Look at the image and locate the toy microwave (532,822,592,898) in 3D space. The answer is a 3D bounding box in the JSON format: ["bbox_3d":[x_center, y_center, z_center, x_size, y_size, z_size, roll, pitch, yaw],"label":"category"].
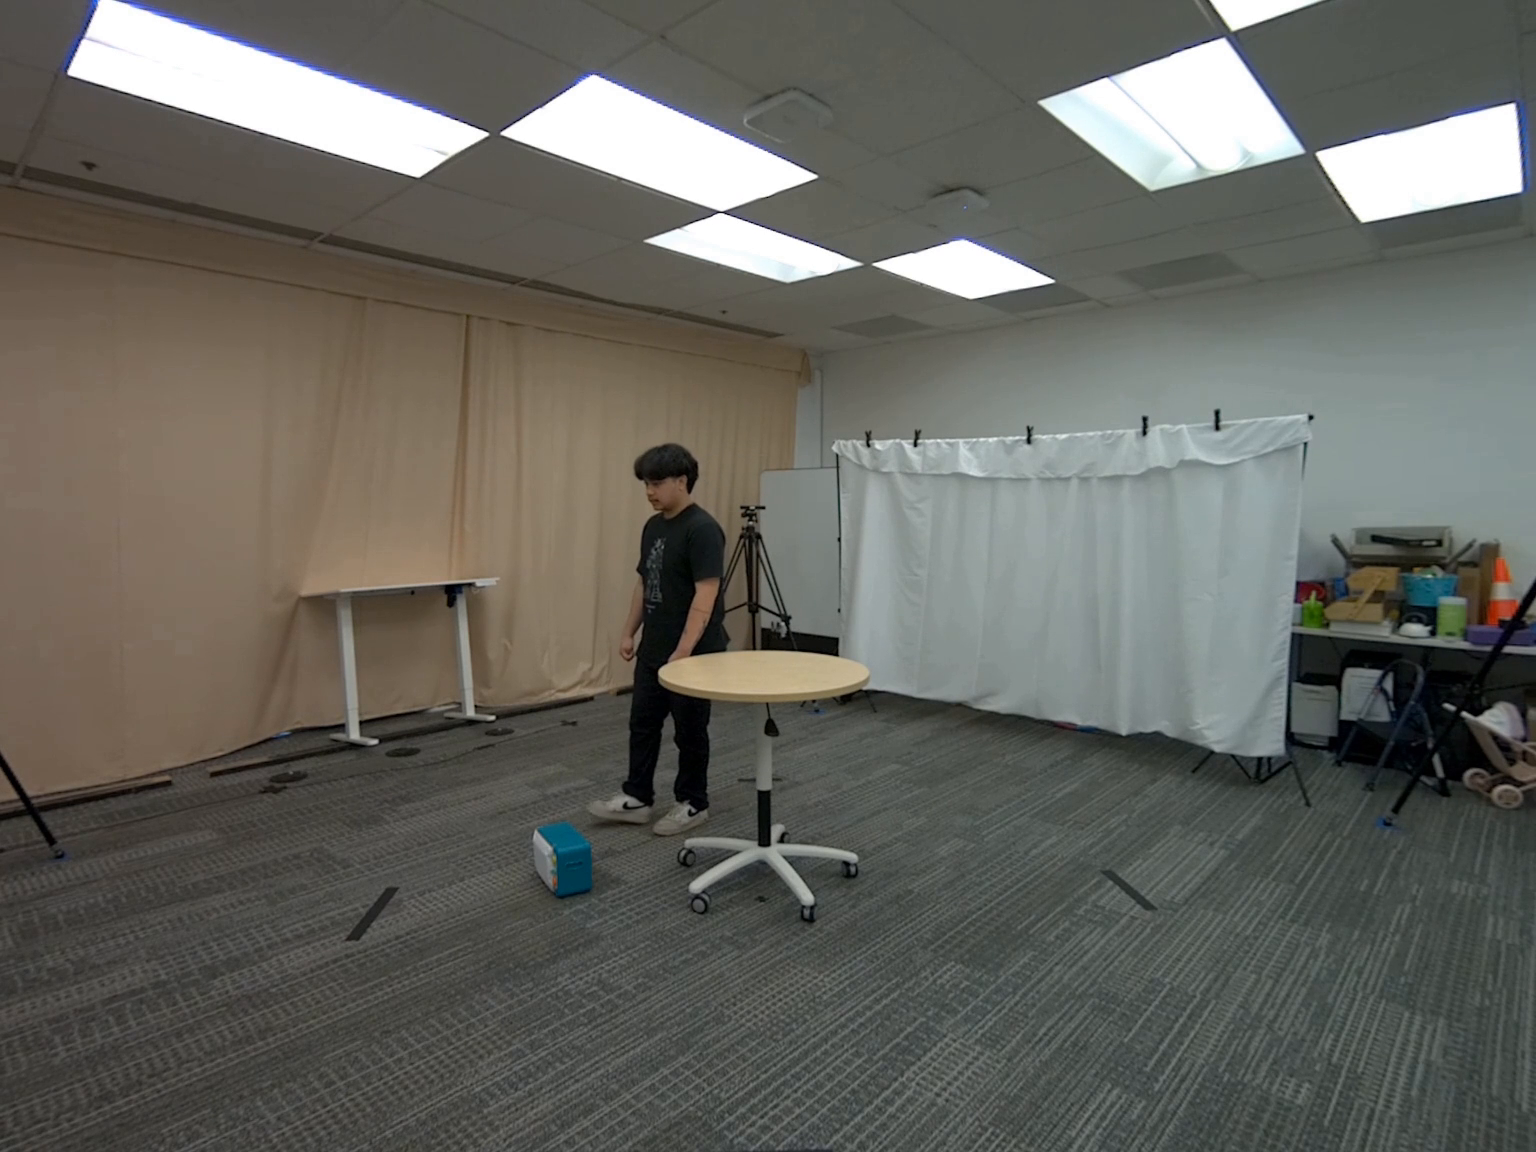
[{"bbox_3d":[-0.765,1.045,3.125,0.148,0.184,0.294,-2,4,-31],"label":"toy microwave"}]
